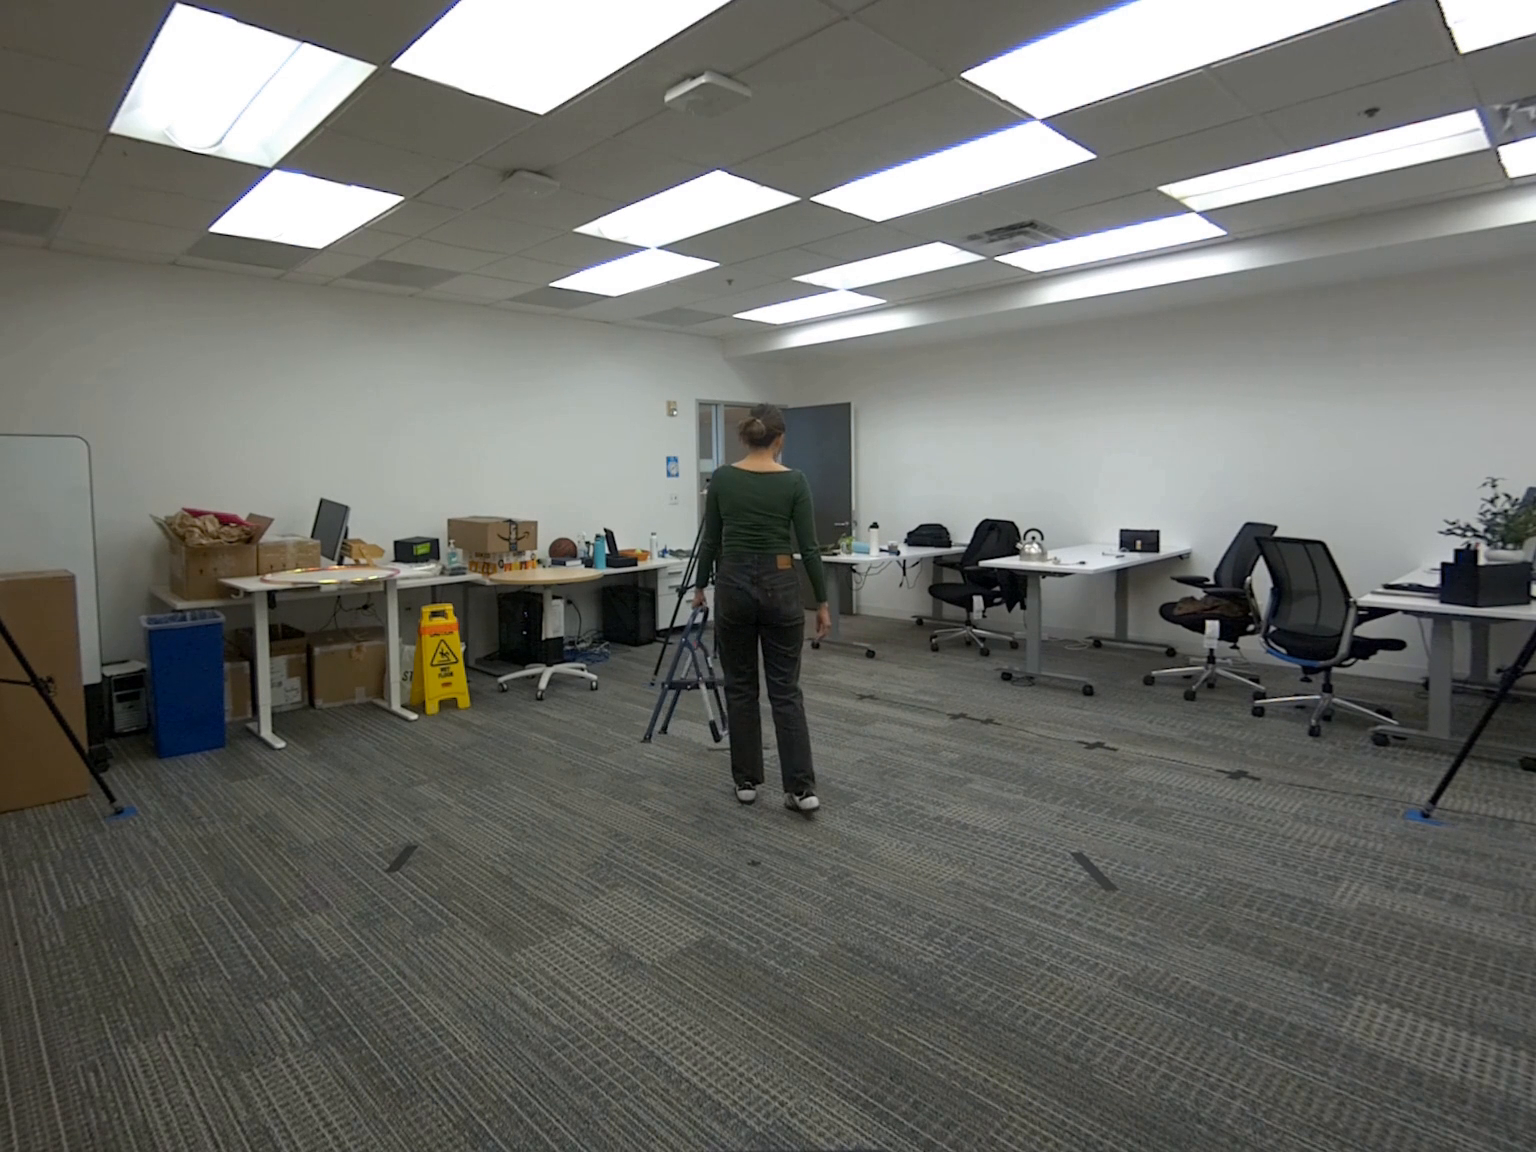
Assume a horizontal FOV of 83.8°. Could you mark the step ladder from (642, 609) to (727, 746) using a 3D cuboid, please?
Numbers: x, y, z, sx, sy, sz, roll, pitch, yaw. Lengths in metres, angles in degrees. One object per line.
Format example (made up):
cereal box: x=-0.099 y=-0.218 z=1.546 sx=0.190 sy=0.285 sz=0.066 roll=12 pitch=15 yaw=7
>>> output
step ladder: x=-0.370 y=0.443 z=3.938 sx=0.351 sy=0.610 sz=0.426 roll=-2 pitch=-7 yaw=4
